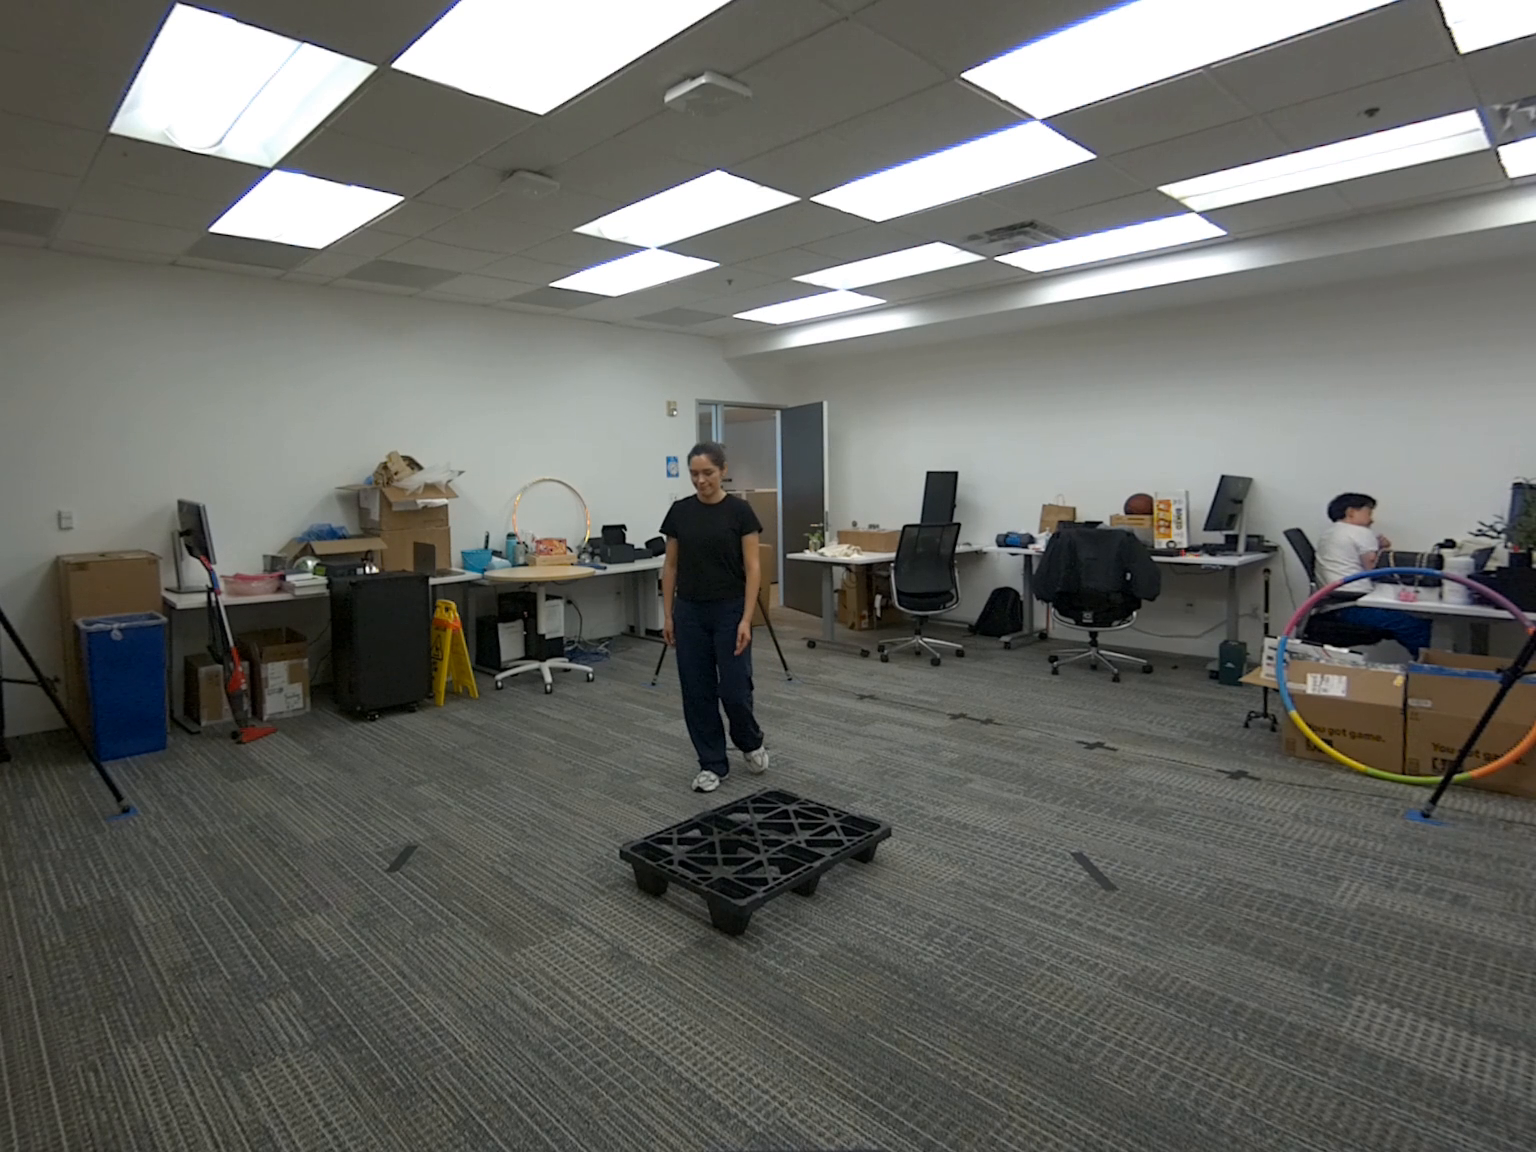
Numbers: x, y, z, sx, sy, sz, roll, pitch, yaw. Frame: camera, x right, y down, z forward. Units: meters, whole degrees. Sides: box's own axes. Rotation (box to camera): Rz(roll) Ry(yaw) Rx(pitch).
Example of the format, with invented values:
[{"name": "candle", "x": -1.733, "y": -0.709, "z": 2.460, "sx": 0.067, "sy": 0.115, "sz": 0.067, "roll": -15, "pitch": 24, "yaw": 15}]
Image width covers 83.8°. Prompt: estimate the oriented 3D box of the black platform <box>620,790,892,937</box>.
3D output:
[{"name": "black platform", "x": -0.029, "y": 0.985, "z": 3.037, "sx": 0.624, "sy": 0.142, "sz": 0.785, "roll": 6, "pitch": 9, "yaw": 43}]
